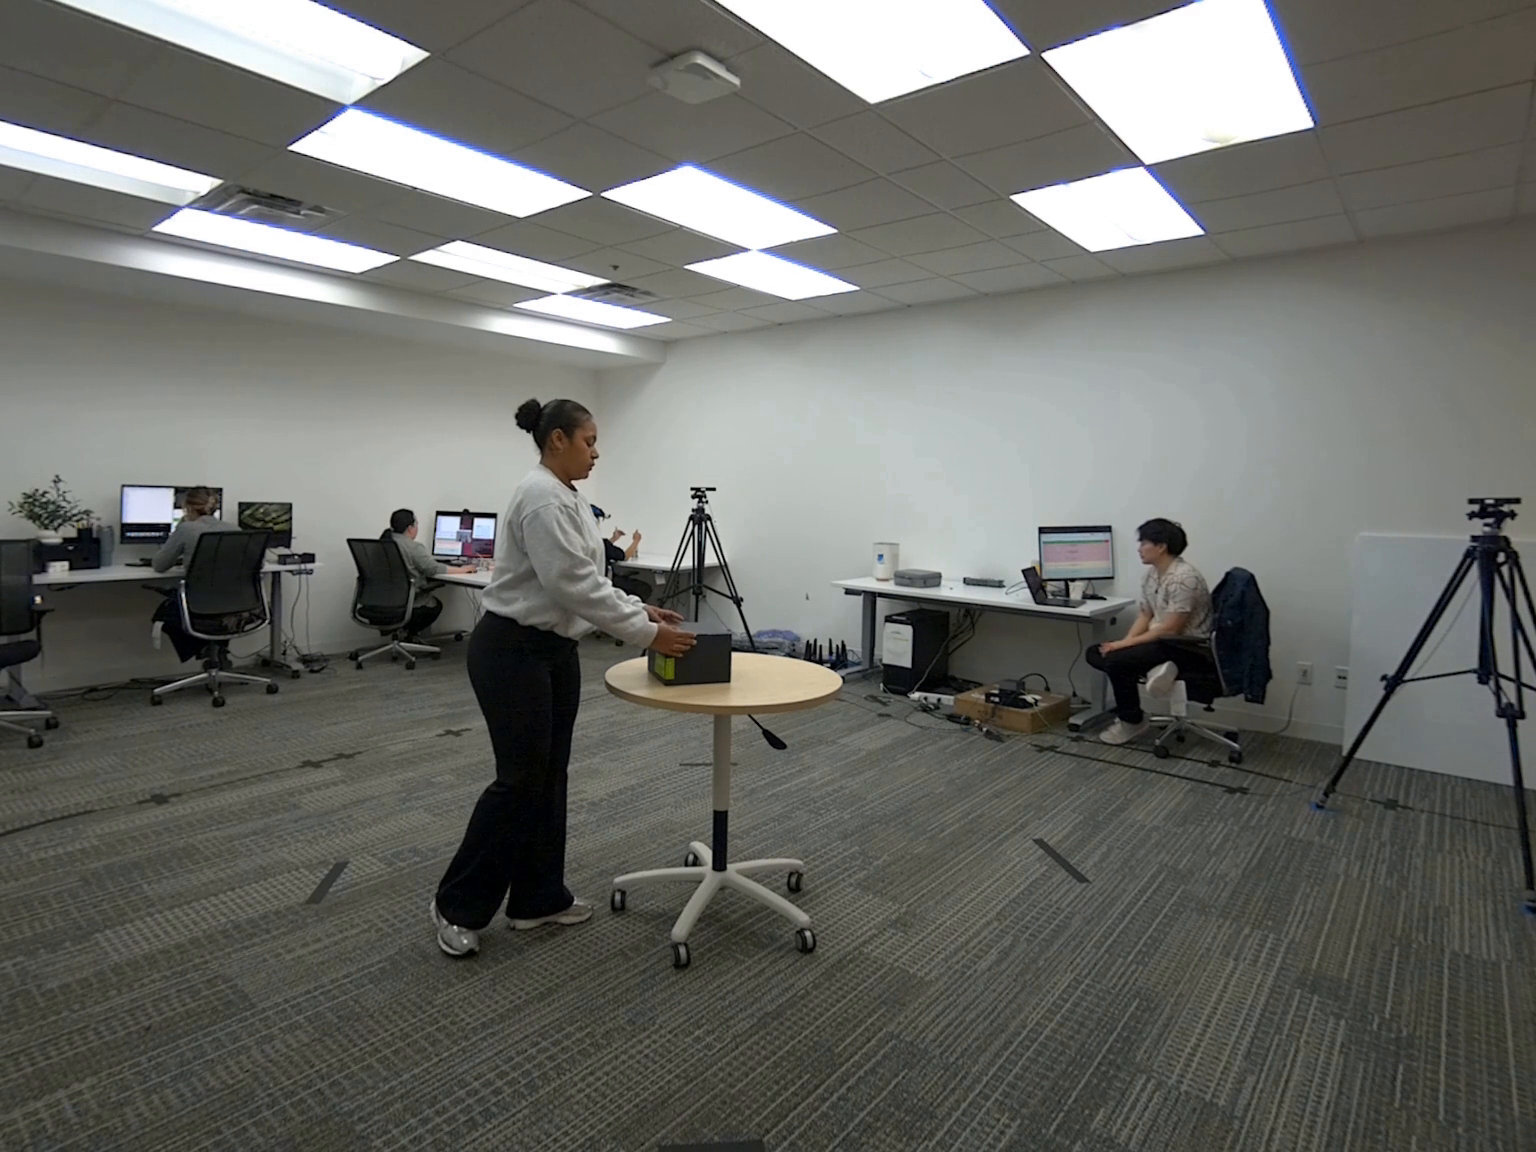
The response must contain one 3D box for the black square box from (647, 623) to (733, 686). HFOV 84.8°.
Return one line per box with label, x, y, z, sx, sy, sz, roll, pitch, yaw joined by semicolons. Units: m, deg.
black square box;-0.265;0.241;2.716;0.213;0.155;0.233;0;6;-19
